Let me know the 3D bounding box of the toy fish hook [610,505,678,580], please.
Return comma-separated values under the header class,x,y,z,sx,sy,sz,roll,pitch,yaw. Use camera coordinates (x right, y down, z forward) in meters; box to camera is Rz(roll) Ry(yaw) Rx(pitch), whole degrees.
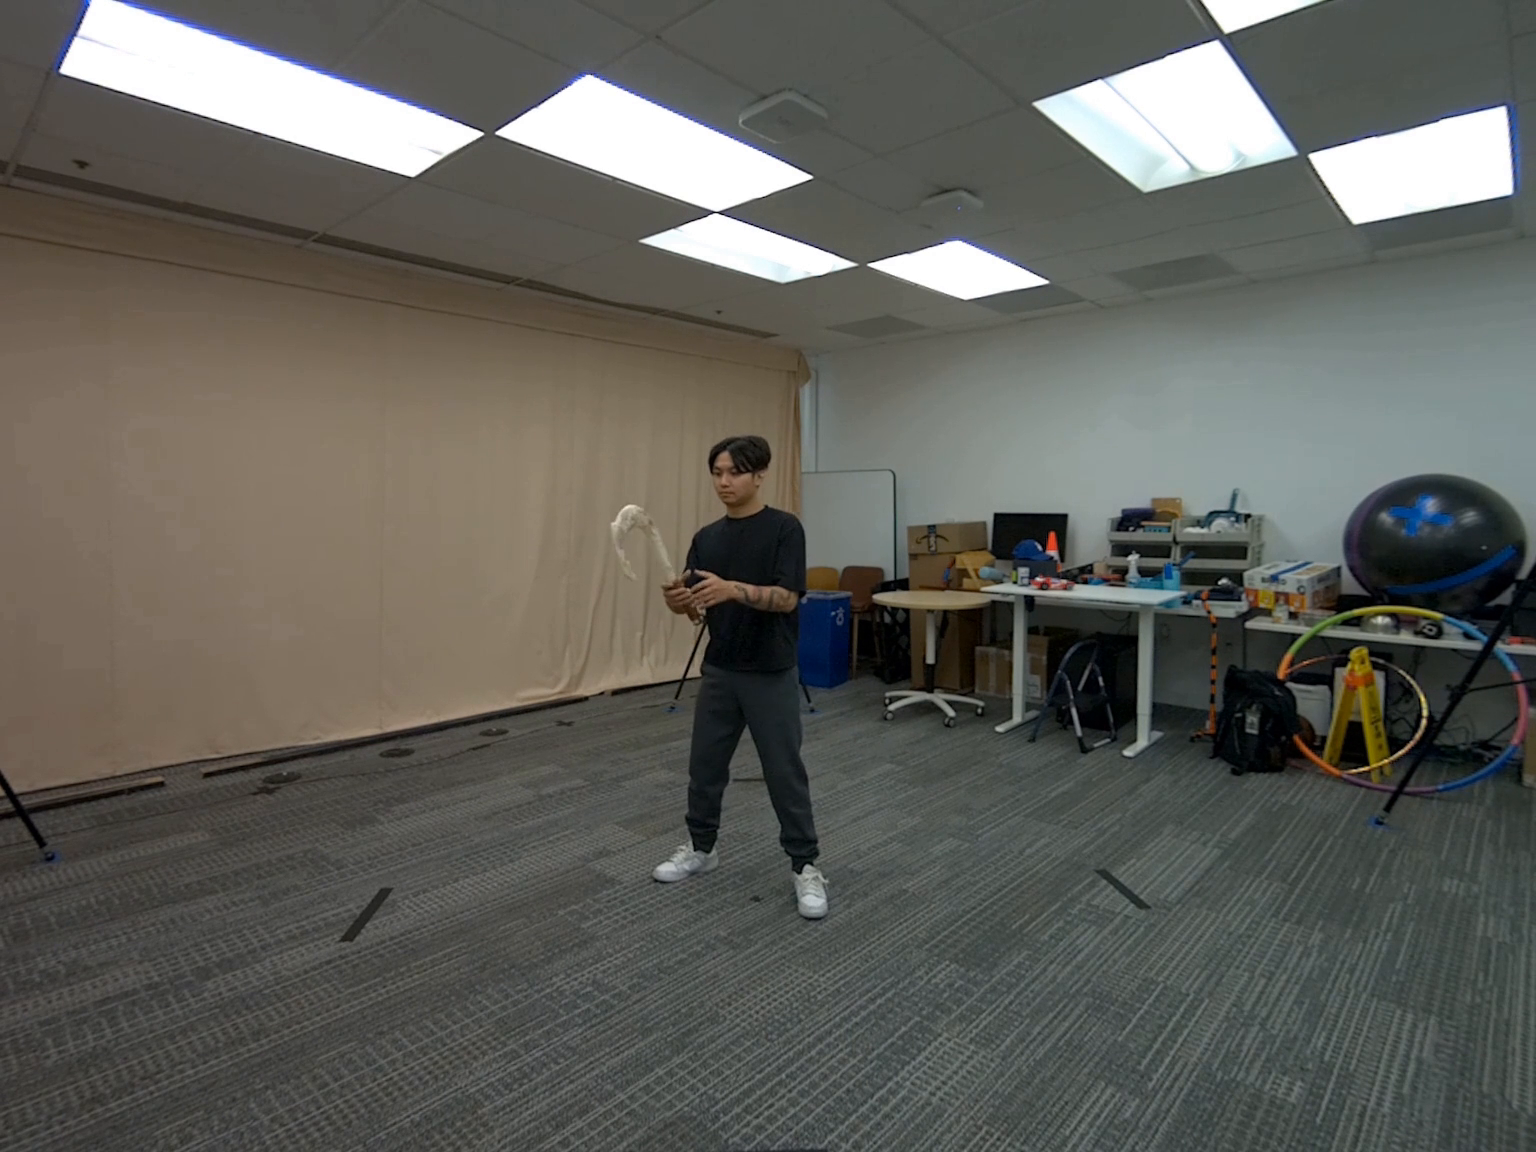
class,x,y,z,sx,sy,sz,roll,pitch,yaw
toy fish hook,-0.346,0.044,2.697,0.050,0.493,0.224,-6,37,36
